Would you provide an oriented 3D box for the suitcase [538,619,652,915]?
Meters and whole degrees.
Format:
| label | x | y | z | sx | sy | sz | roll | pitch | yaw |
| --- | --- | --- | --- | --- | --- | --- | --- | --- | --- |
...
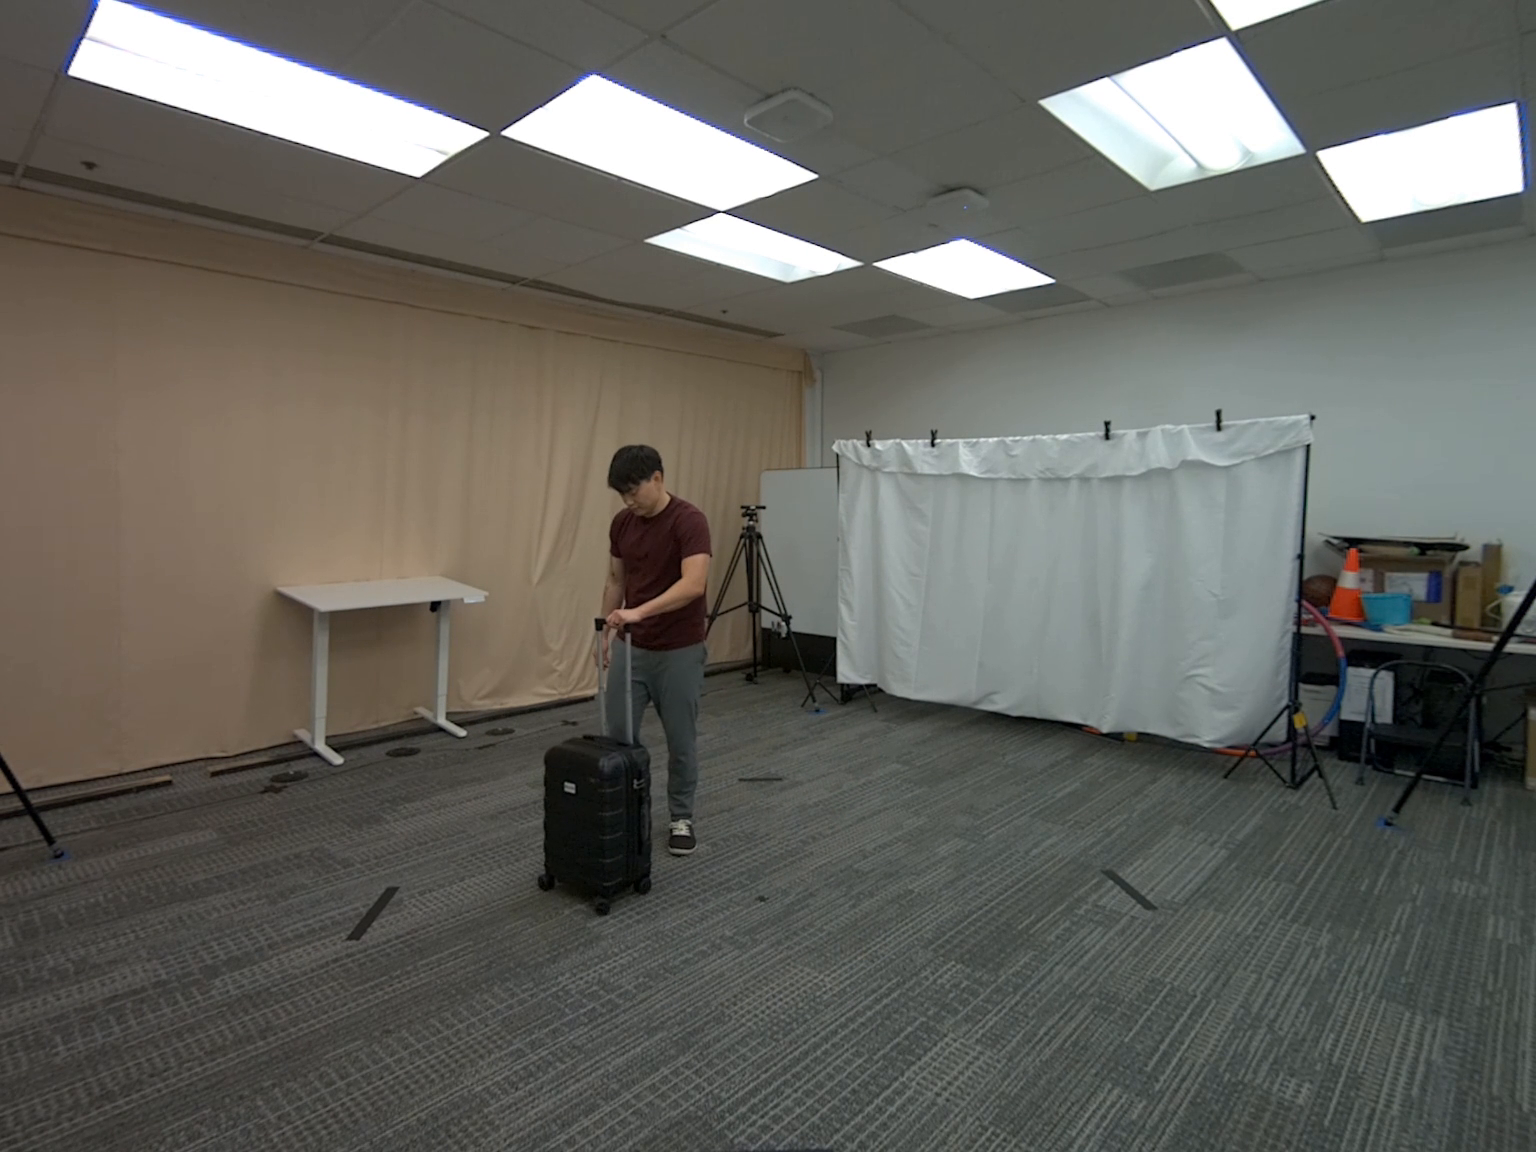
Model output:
| label | x | y | z | sx | sy | sz | roll | pitch | yaw |
| --- | --- | --- | --- | --- | --- | --- | --- | --- | --- |
| suitcase | -0.632 | 0.668 | 3.034 | 0.396 | 0.977 | 0.249 | 0 | 4 | 37 |
